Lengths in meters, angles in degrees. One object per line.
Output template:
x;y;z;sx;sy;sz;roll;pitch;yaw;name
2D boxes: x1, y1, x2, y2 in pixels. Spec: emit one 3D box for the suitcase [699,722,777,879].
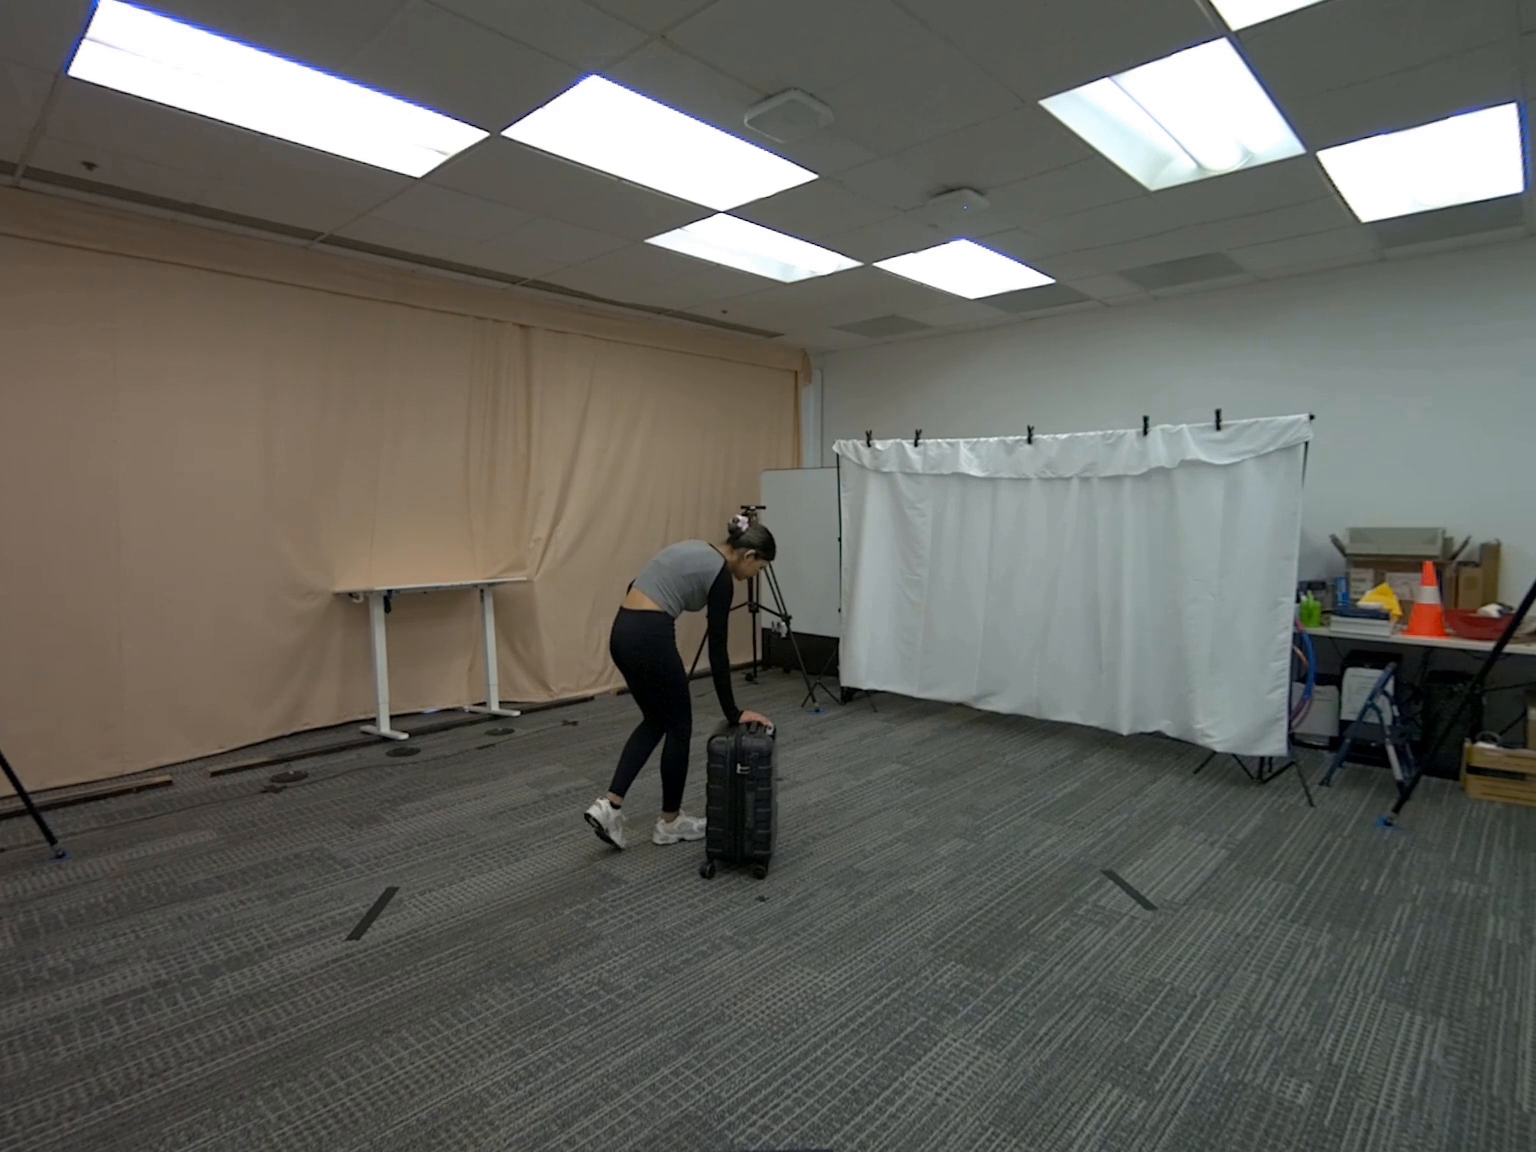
-0.094;0.843;3.286;0.250;0.548;0.373;1;3;6;suitcase
